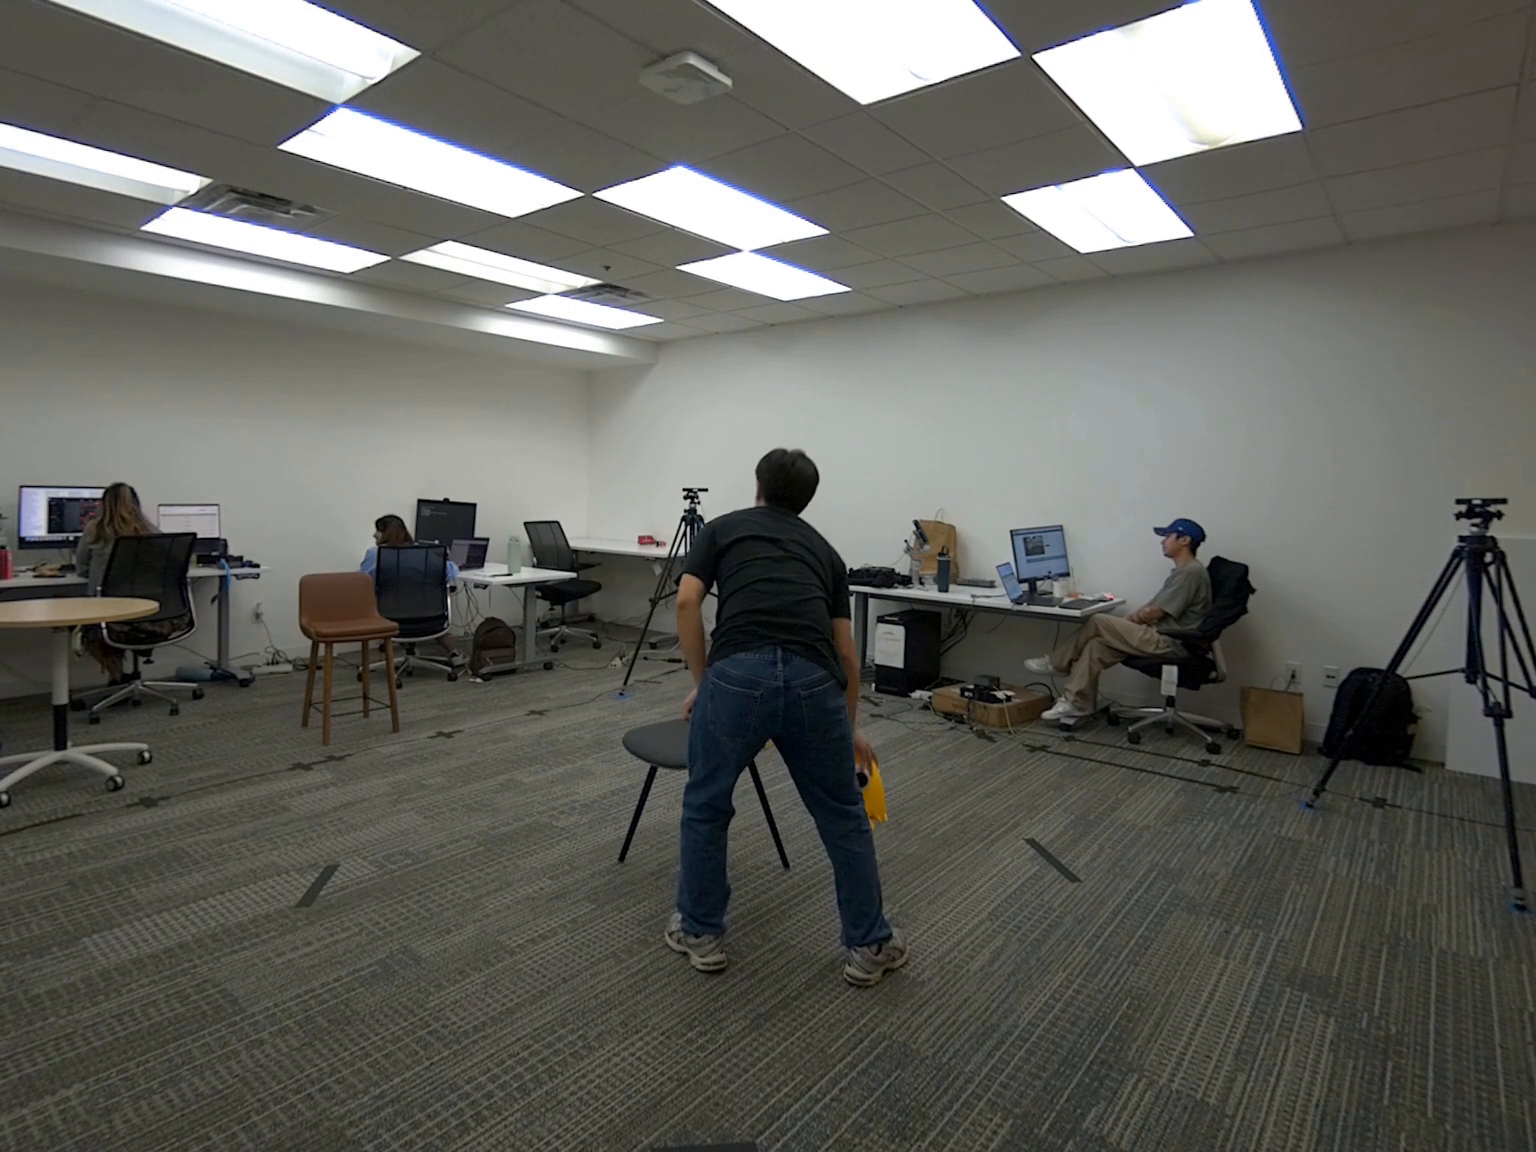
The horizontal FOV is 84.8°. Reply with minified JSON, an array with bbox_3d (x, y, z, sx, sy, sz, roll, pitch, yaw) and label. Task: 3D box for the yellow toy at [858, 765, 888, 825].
[{"bbox_3d":[0.292,0.639,2.679,0.200,0.230,0.198,16,6,29],"label":"yellow toy"}]
